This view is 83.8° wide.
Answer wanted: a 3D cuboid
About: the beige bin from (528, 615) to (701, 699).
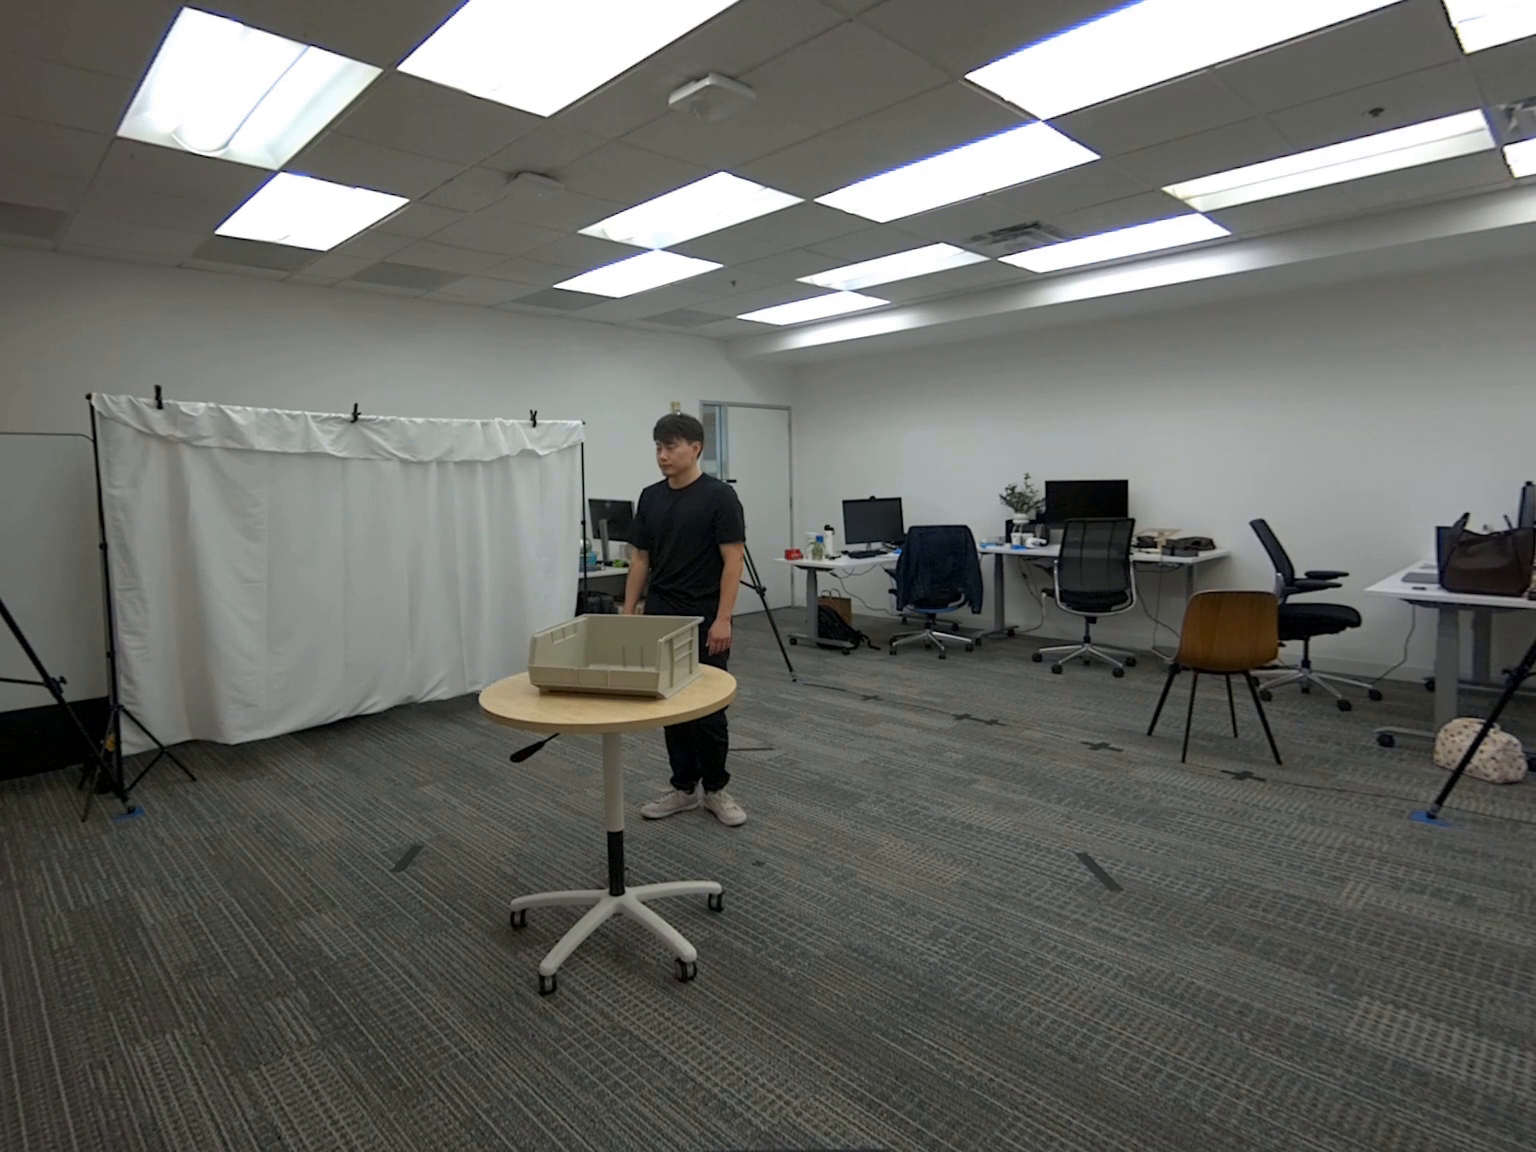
[{"bbox_3d":[-0.455,0.246,2.599,0.429,0.188,0.373,0,6,16],"label":"beige bin"}]
